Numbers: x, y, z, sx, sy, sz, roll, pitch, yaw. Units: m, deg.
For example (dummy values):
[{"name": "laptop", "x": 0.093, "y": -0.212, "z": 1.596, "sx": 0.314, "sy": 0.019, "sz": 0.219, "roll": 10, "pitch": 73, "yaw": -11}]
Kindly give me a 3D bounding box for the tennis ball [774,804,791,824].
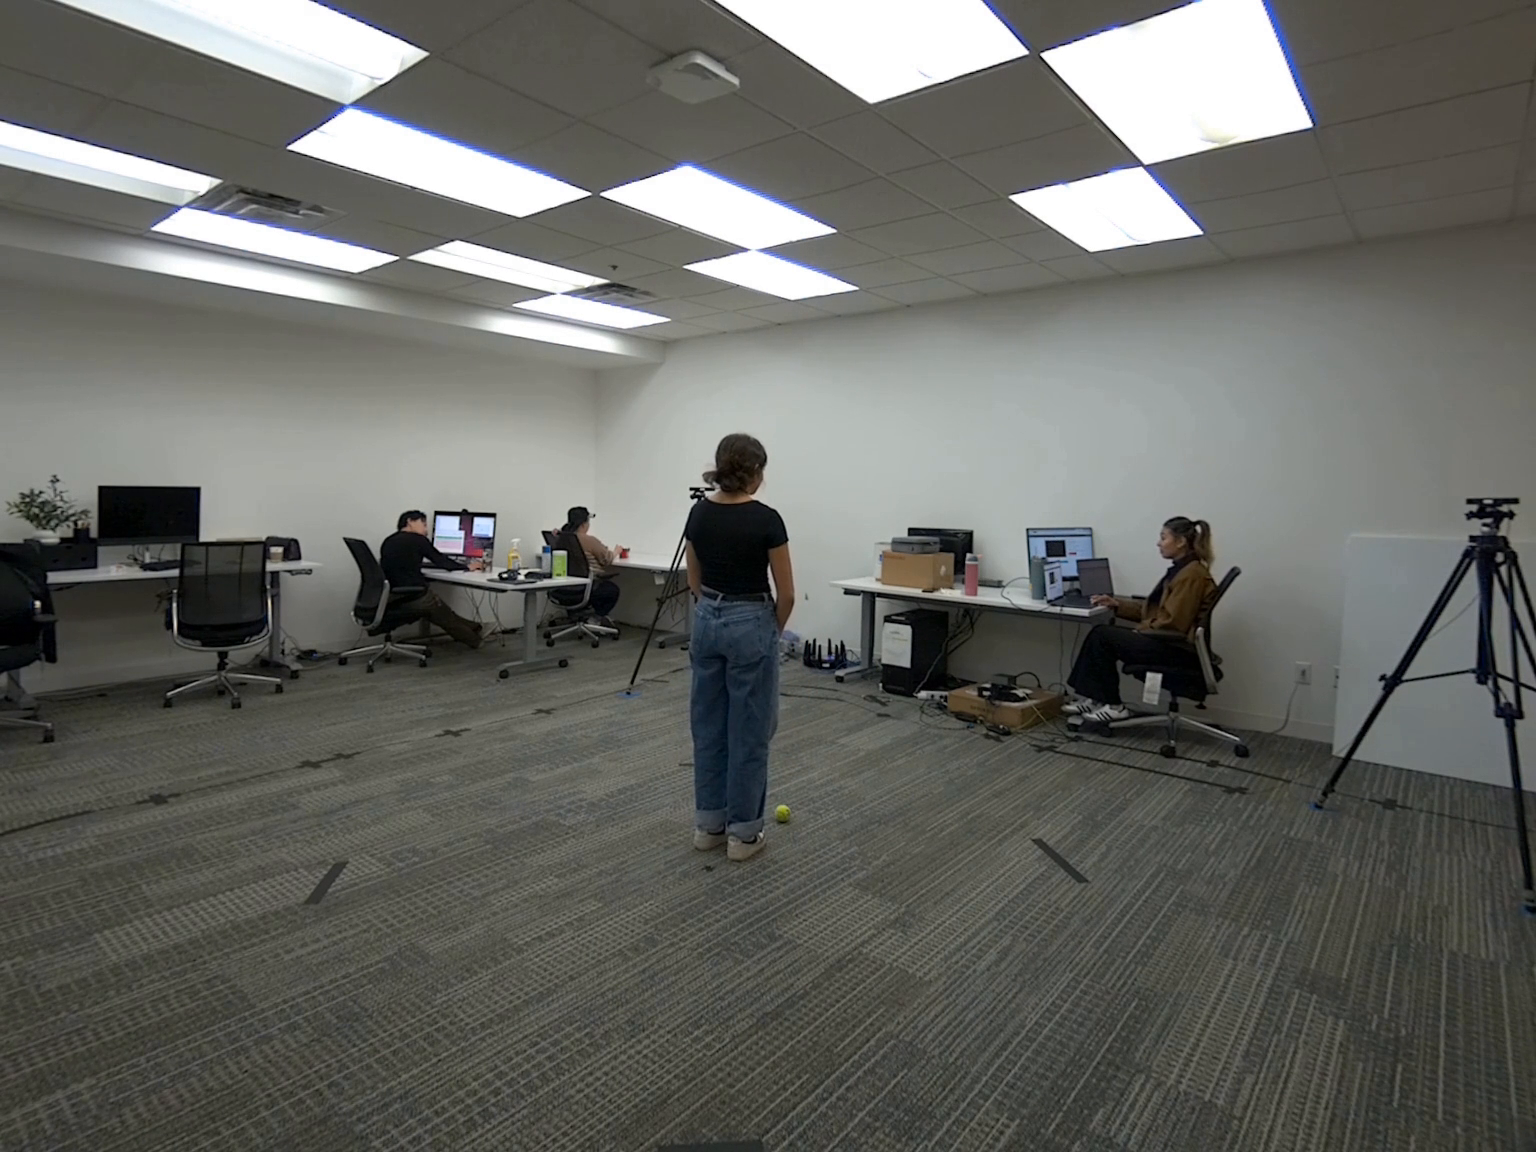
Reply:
[{"name": "tennis ball", "x": 0.051, "y": 0.981, "z": 3.578, "sx": 0.066, "sy": 0.066, "sz": 0.067, "roll": 1, "pitch": 4, "yaw": -2}]
